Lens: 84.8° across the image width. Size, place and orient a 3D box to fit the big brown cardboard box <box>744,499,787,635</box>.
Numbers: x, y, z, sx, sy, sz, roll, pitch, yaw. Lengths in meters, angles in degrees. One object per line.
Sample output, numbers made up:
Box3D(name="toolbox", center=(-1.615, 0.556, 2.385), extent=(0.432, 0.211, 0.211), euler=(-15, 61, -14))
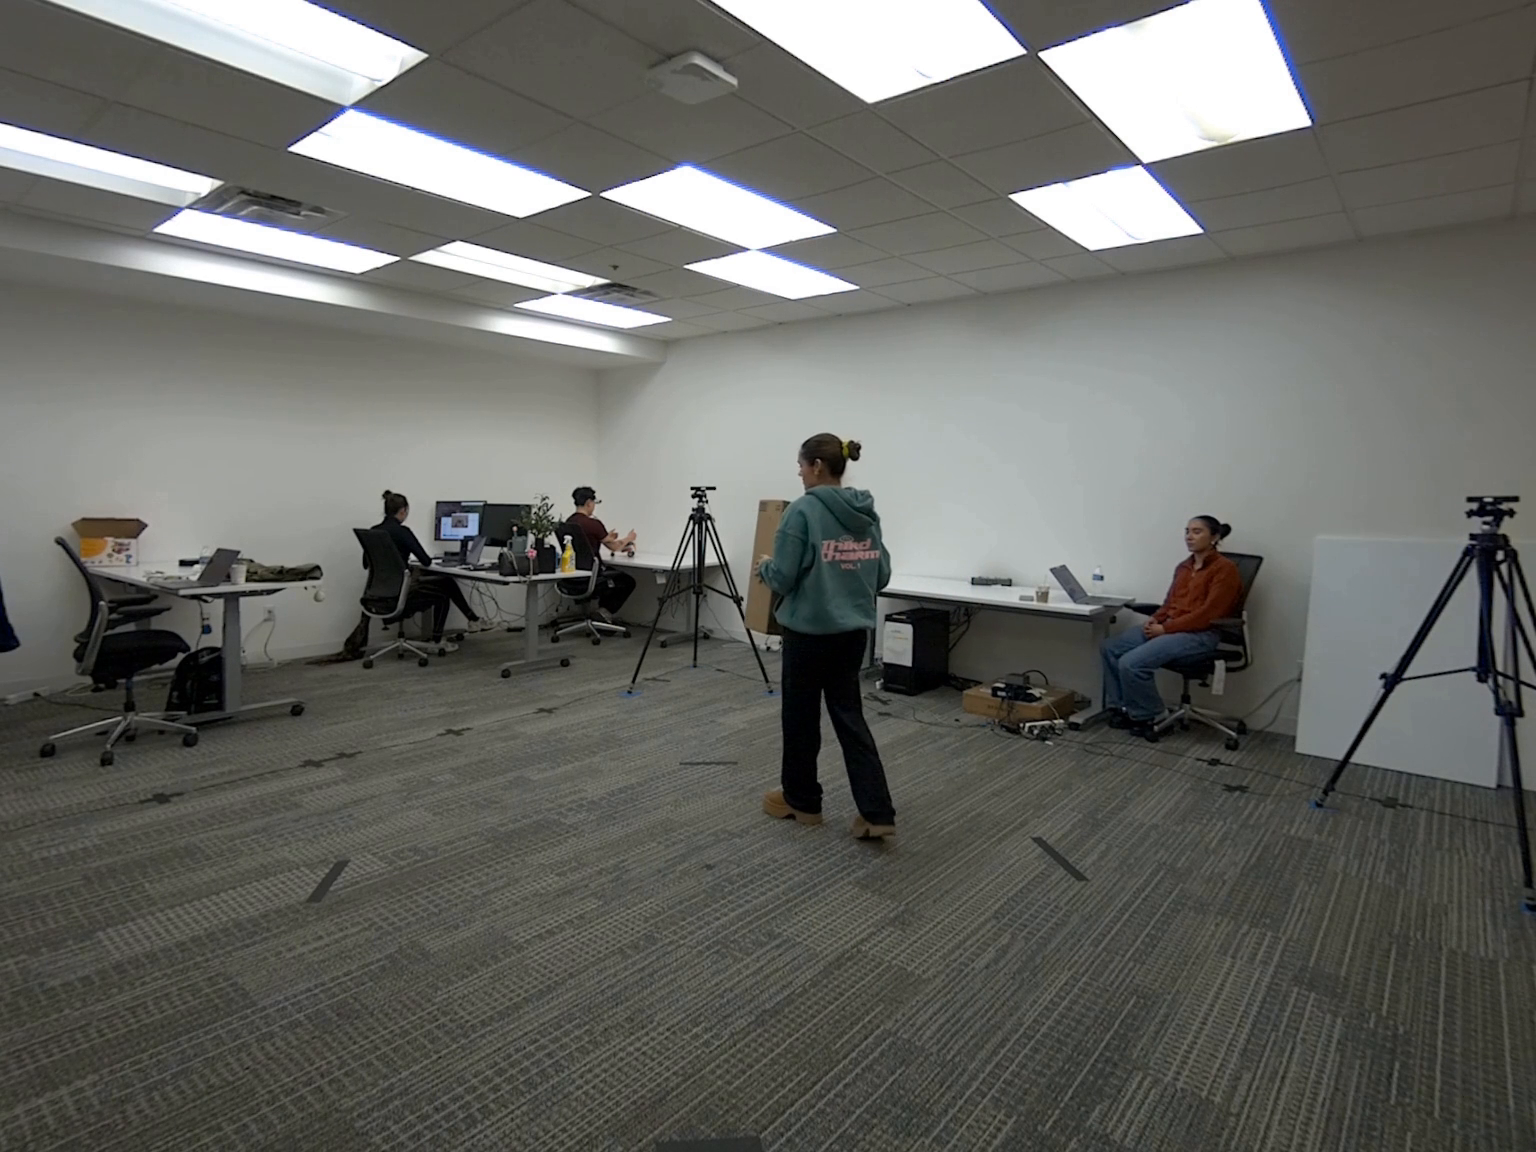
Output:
Box3D(name="big brown cardboard box", center=(0.149, -0.025, 3.724), extent=(0.406, 0.589, 0.239), euler=(6, 0, -26))
